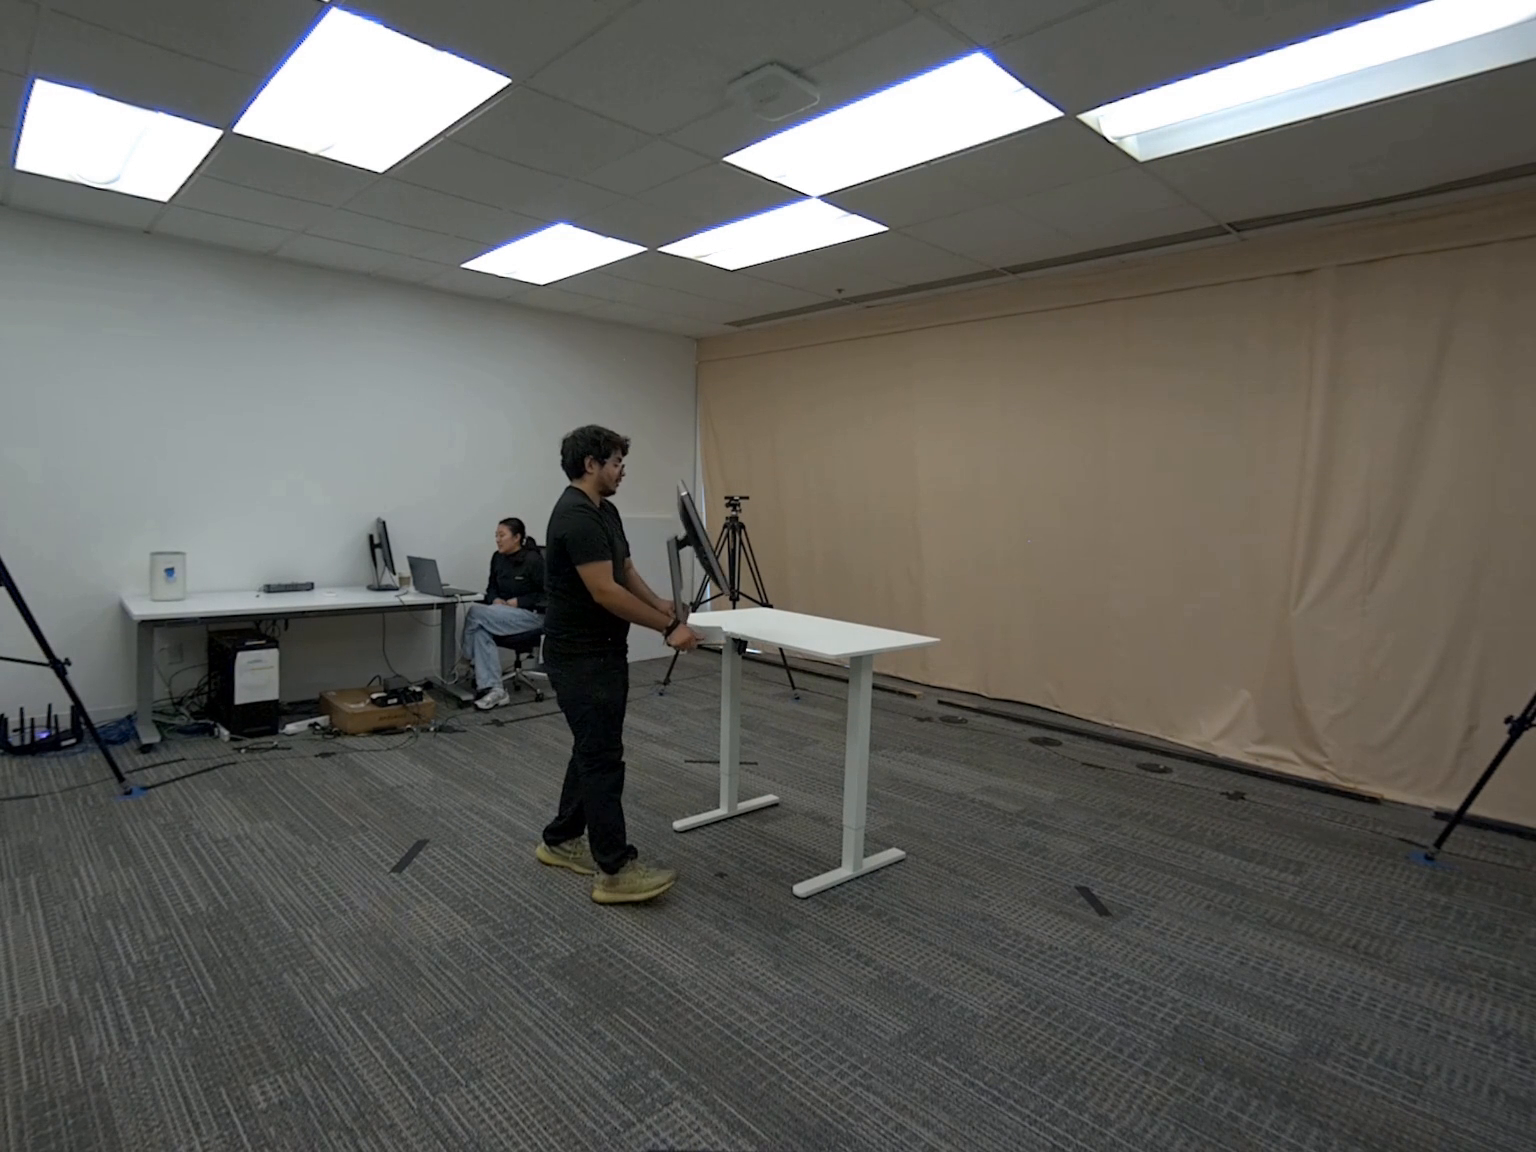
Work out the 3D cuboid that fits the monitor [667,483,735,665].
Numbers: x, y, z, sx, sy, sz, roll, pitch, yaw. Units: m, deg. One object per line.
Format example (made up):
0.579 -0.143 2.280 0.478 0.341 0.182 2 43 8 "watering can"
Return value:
-0.296 -0.042 2.949 0.209 0.549 0.572 -13 10 -5 "monitor"
